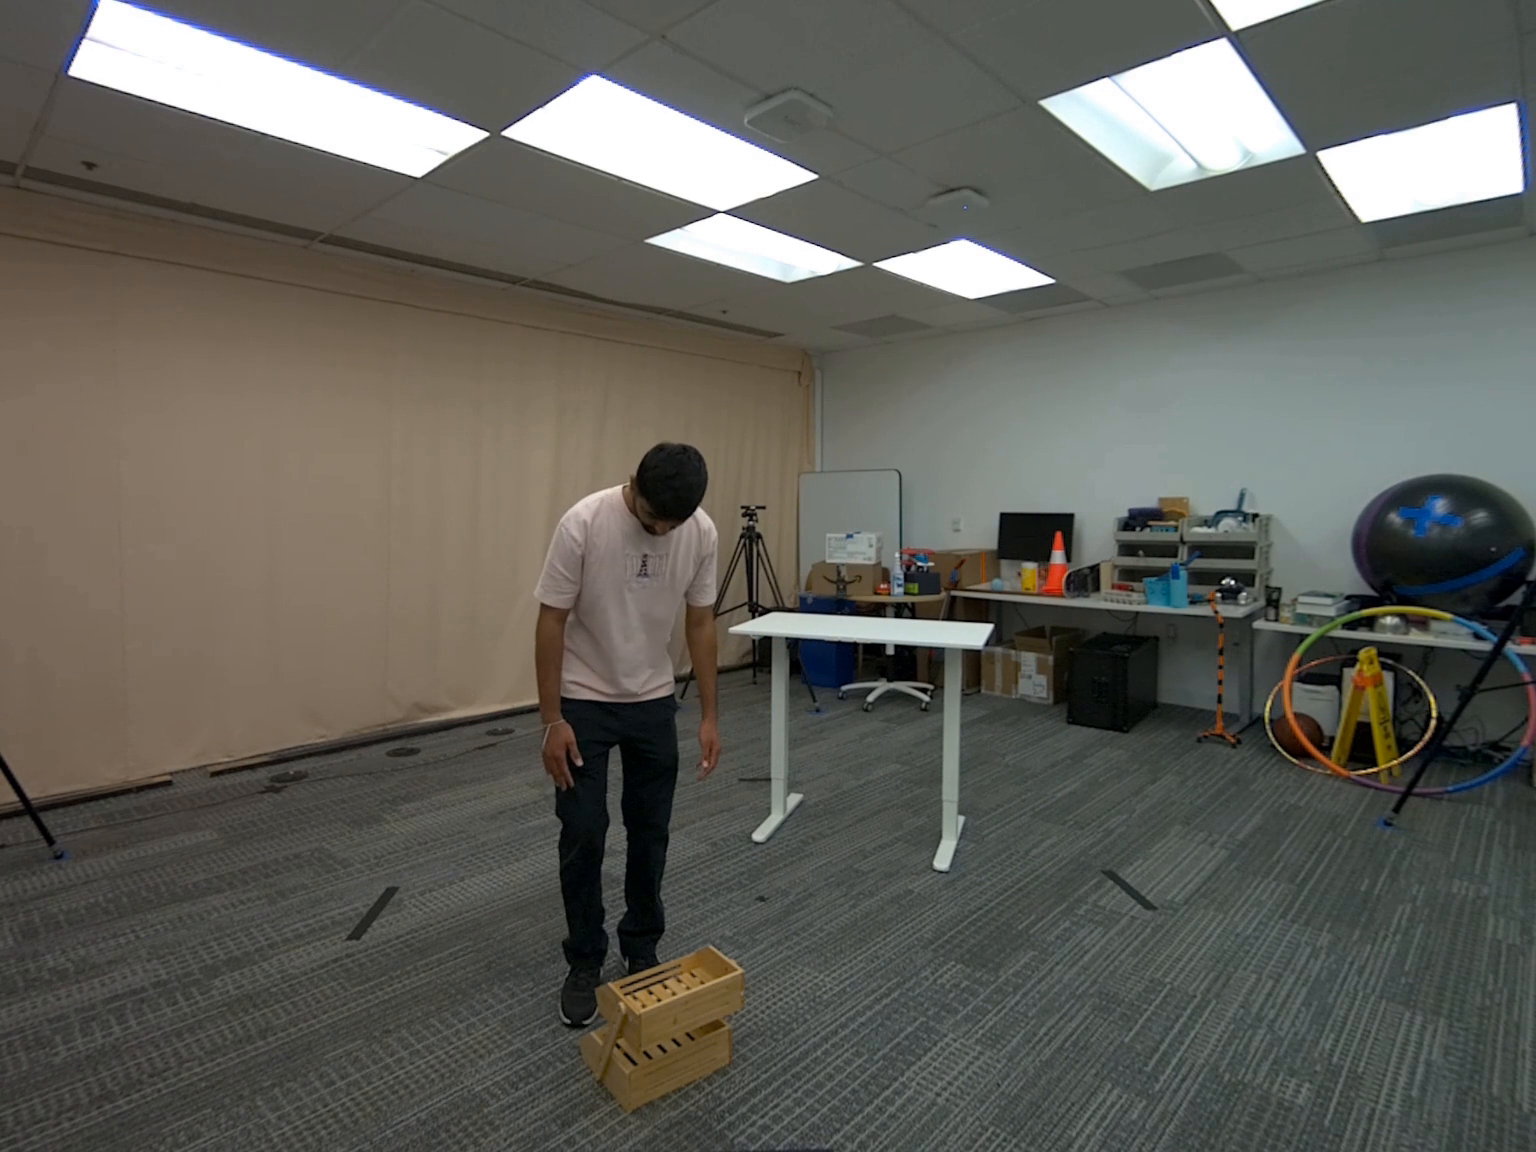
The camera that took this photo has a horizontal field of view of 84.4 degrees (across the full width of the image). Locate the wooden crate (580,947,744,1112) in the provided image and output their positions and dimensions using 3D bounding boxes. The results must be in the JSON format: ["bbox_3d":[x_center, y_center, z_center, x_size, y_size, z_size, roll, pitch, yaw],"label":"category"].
[{"bbox_3d":[-0.264,1.086,2.088,0.315,0.273,0.312,-2,5,-37],"label":"wooden crate"}]
